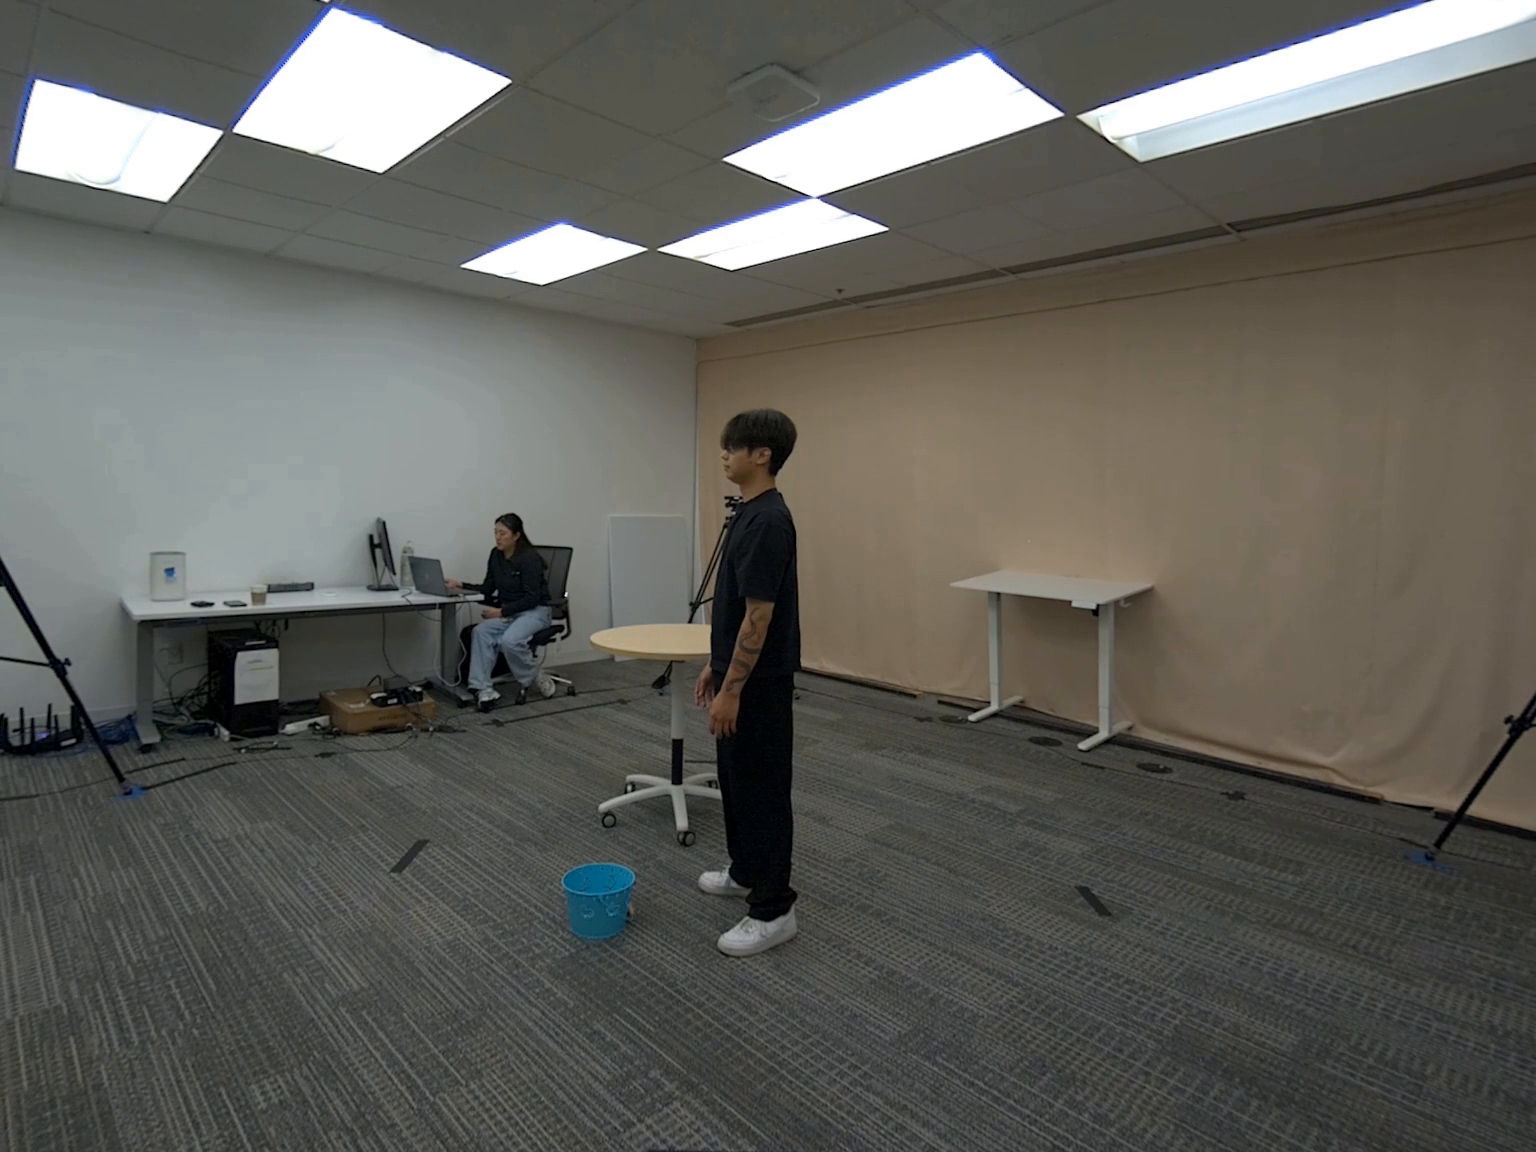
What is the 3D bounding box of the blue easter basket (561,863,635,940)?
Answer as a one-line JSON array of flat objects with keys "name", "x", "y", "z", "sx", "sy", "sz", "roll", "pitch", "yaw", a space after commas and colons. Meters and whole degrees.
[{"name": "blue easter basket", "x": -0.553, "y": 1.050, "z": 2.720, "sx": 0.243, "sy": 0.155, "sz": 0.244, "roll": 2, "pitch": 5, "yaw": -1}]
